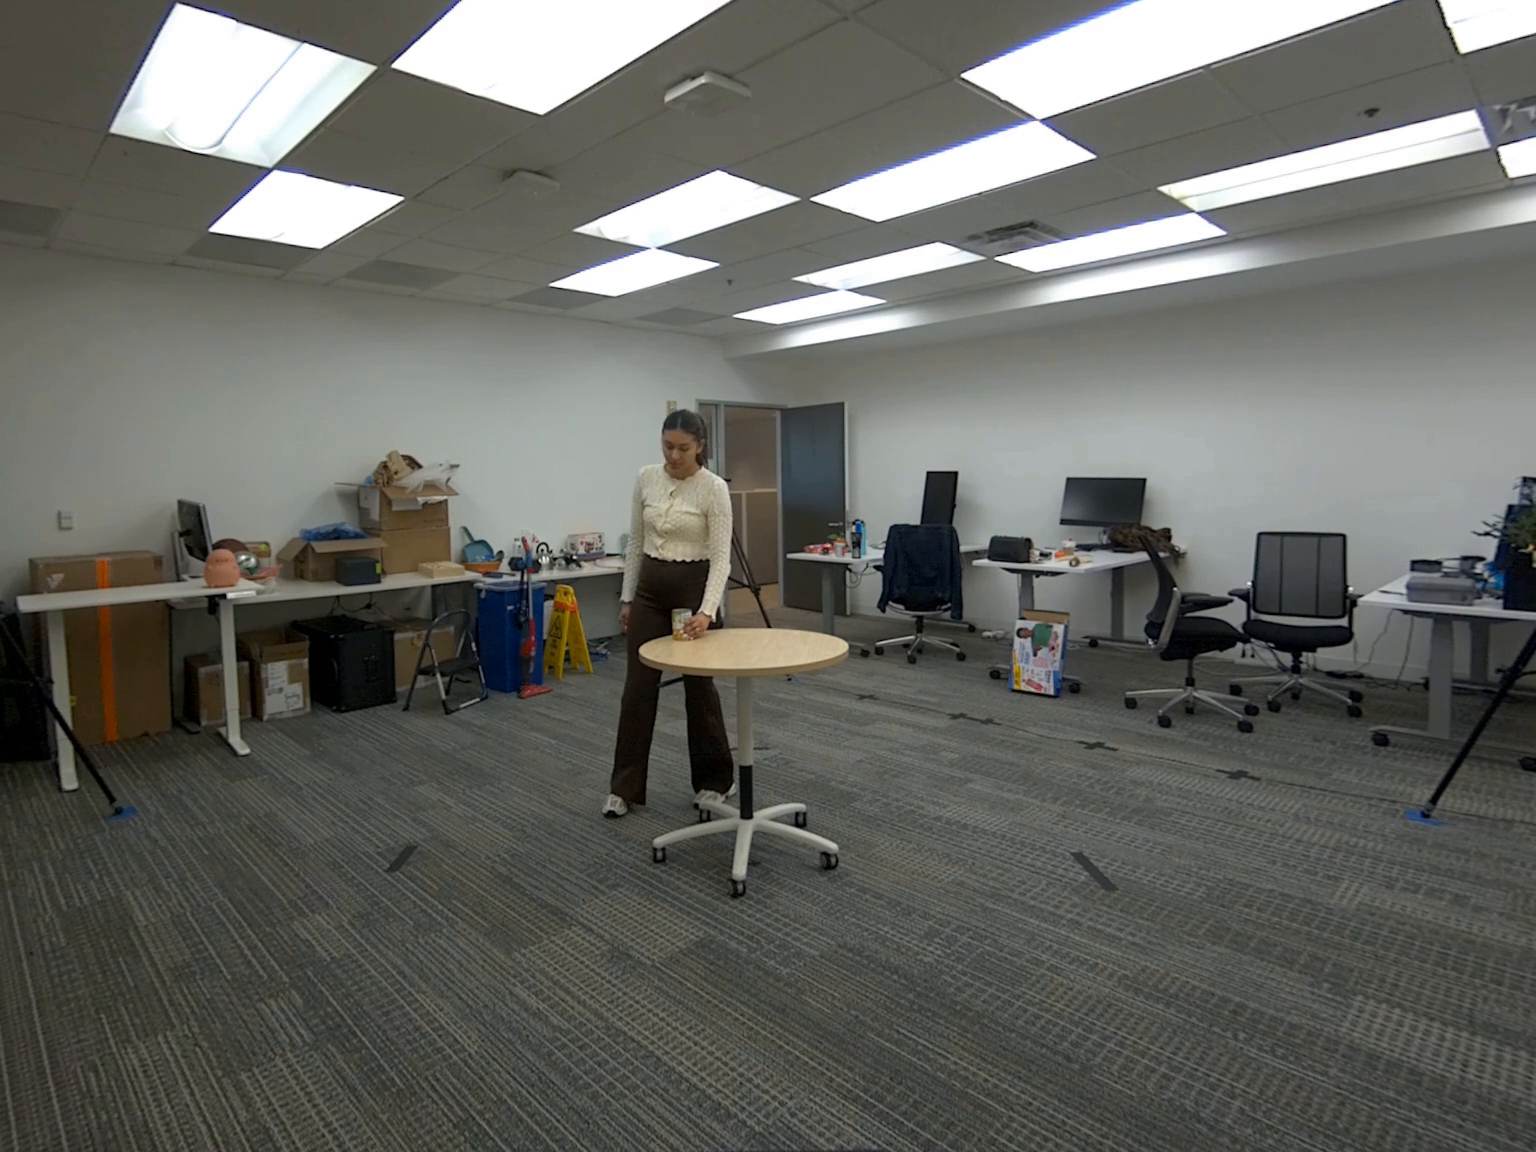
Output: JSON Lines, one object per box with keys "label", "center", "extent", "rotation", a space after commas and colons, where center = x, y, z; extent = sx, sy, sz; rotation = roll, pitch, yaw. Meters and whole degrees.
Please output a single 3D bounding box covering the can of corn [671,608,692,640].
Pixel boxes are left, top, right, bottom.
{"label": "can of corn", "center": [-0.333, 0.189, 3.308], "extent": [0.074, 0.110, 0.074], "rotation": [1, 5, -2]}
